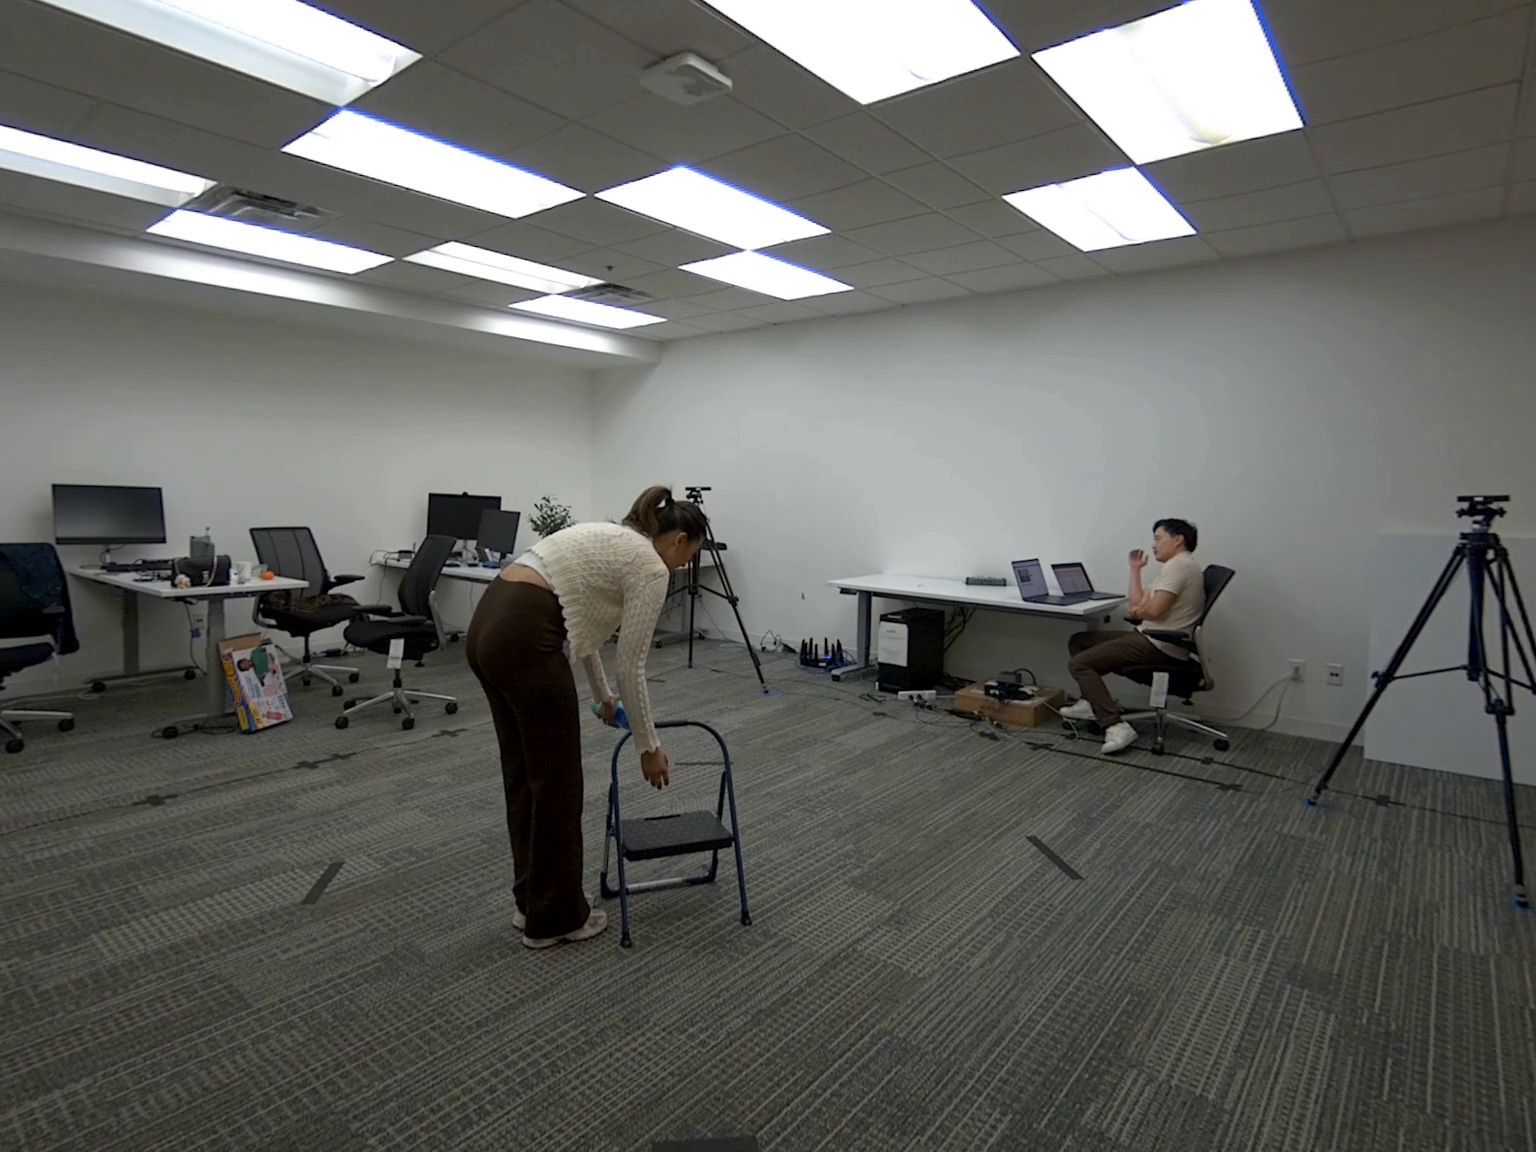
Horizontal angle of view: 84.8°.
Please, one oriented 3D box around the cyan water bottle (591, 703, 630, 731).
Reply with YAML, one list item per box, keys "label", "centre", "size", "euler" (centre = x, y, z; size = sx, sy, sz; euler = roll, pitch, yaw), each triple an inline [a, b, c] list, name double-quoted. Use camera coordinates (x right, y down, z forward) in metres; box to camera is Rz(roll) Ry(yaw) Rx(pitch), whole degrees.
- label: "cyan water bottle"
  centre: [-0.536, 0.489, 3.066]
  size: [0.089, 0.092, 0.293]
  euler: [-2, 8, -39]
